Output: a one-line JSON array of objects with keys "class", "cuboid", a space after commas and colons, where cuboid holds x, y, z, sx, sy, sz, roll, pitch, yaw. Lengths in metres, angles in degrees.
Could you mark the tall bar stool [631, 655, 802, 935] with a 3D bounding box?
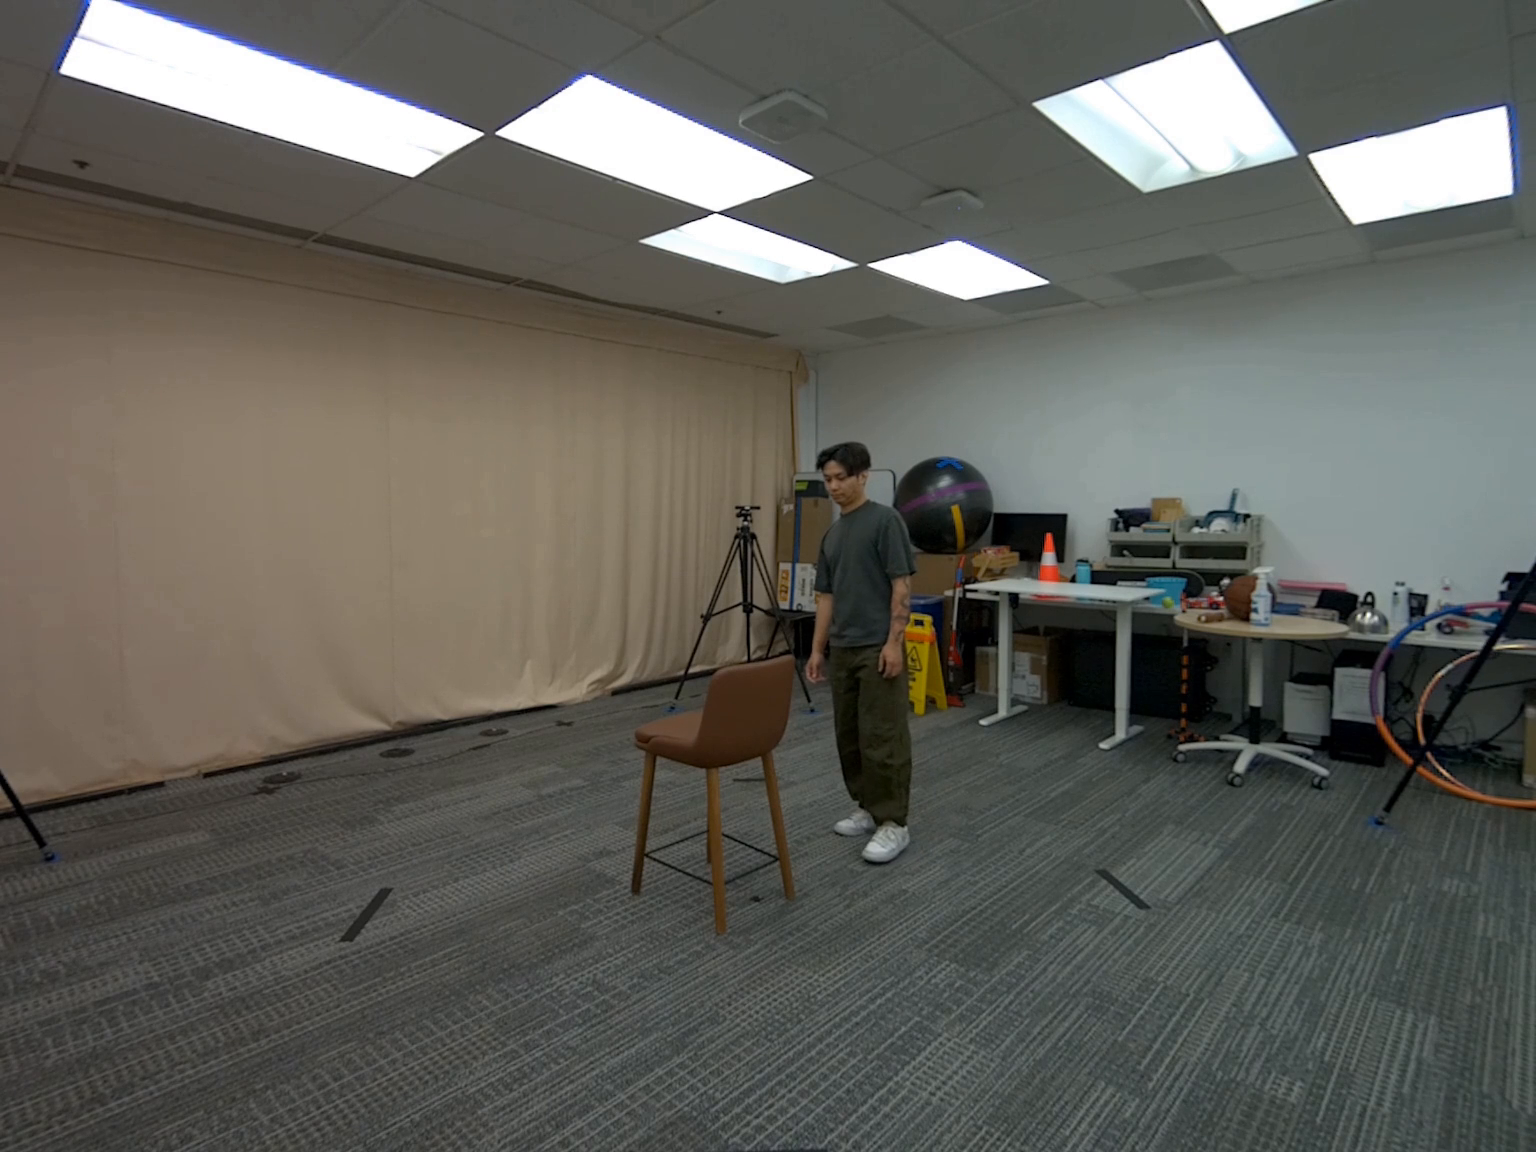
[{"class": "tall bar stool", "cuboid": [-0.190, 0.709, 2.990, 0.483, 0.887, 0.442, 5, 6, 43]}]
